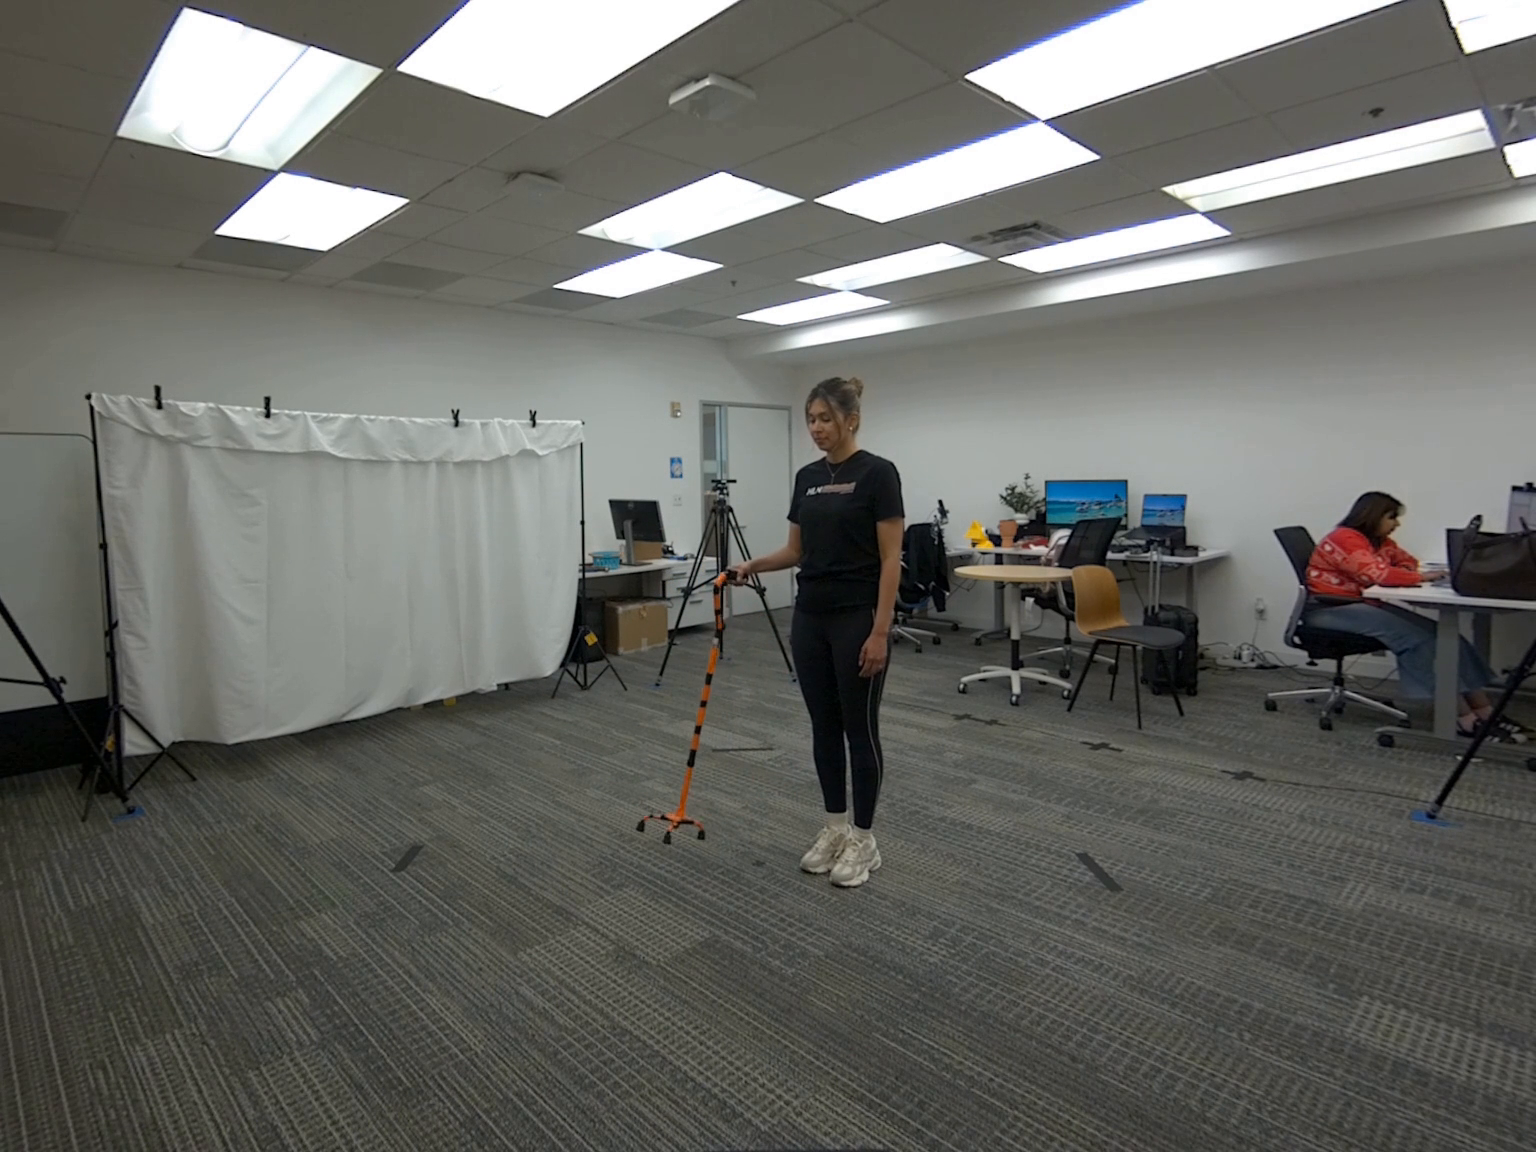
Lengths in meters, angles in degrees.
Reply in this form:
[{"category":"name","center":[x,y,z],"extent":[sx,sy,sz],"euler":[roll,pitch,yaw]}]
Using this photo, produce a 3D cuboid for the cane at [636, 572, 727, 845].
[{"category":"cane","center":[-0.228,0.431,2.903],"extent":[0.156,0.911,0.199],"euler":[6,-6,37]}]
